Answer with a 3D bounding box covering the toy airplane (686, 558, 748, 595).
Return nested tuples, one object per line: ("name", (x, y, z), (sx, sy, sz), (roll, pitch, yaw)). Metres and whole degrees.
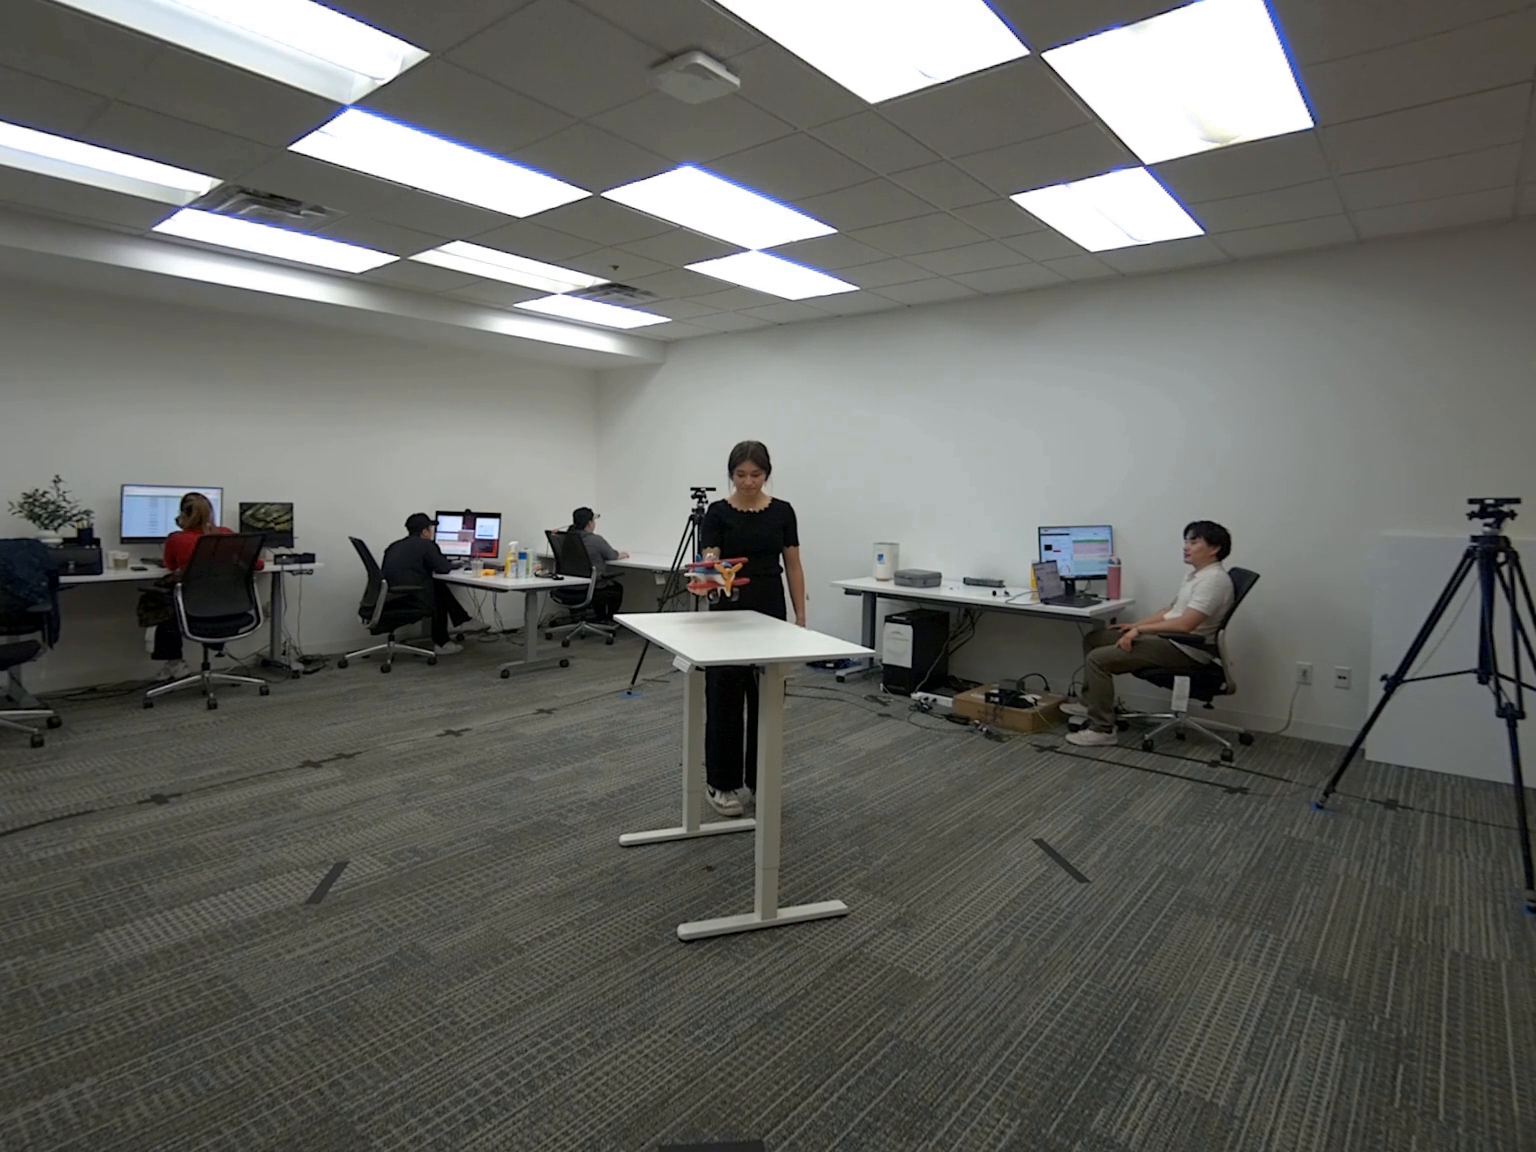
("toy airplane", (-0.235, -0.008, 3.239), (0.268, 0.154, 0.246), (13, 17, 28))
